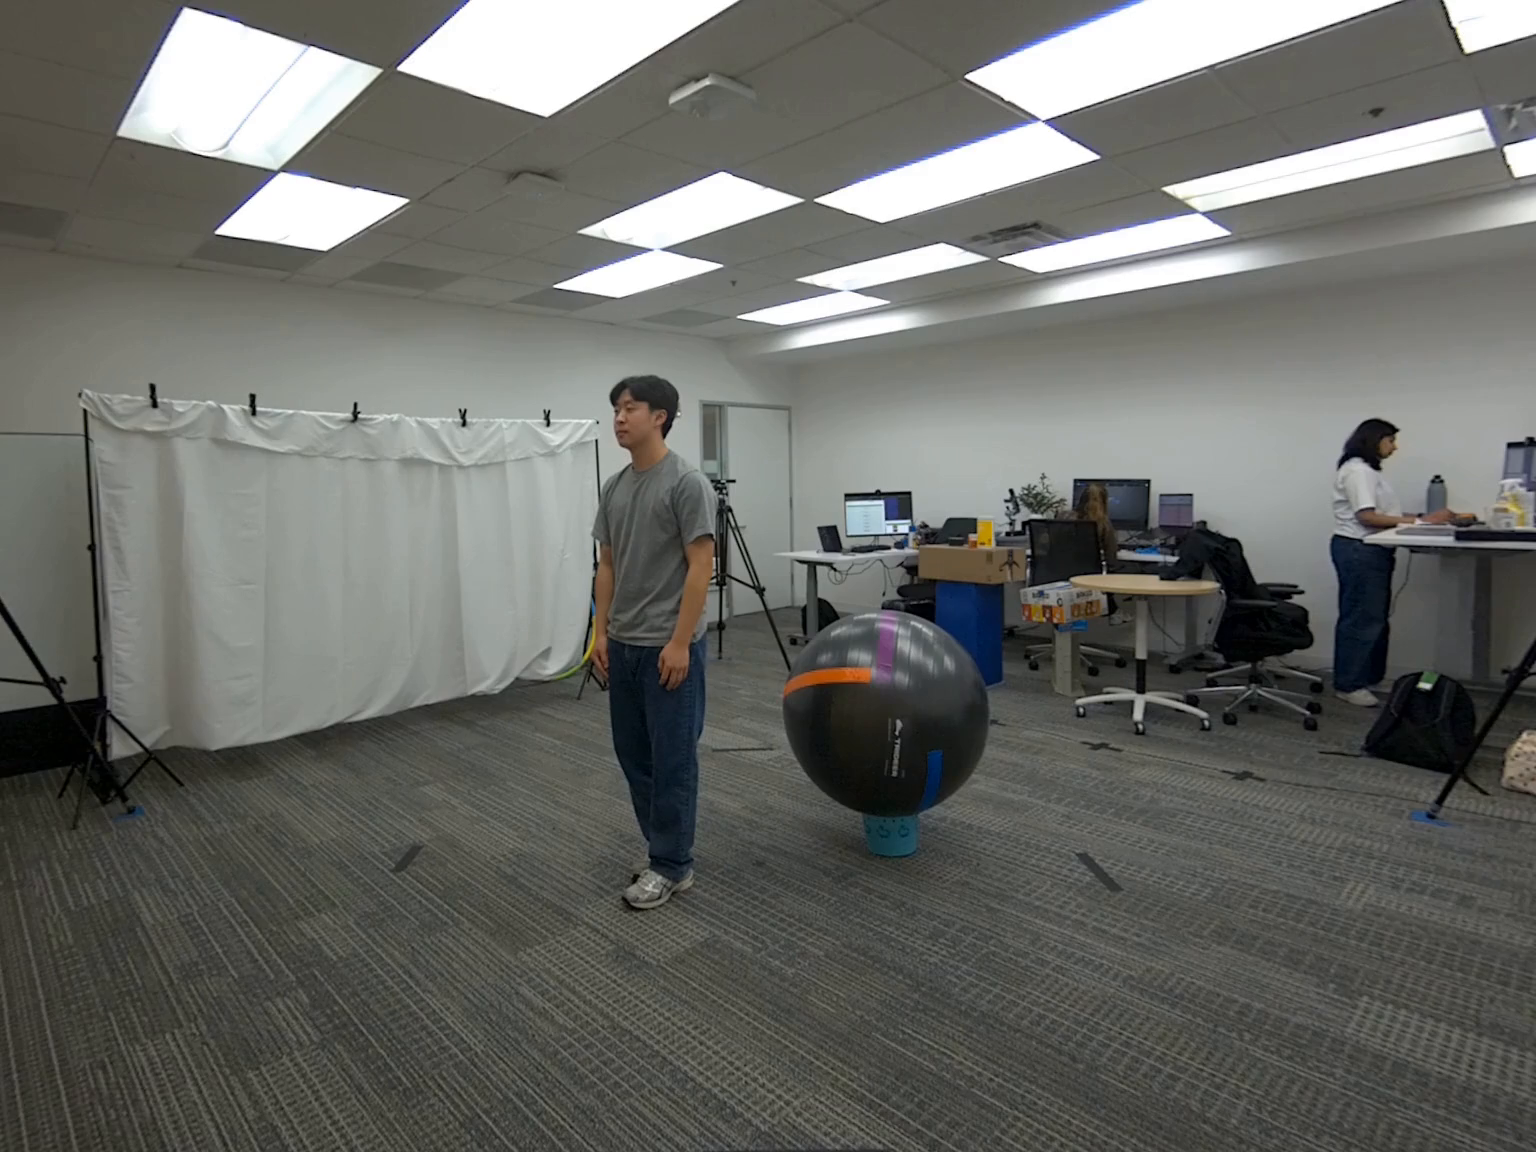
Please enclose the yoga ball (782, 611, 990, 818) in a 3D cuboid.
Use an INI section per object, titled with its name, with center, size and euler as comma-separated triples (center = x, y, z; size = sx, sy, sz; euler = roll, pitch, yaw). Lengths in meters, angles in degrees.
[yoga ball]
center = 0.456, 0.519, 3.220
size = 0.757, 0.755, 0.762
euler = -1, 5, -2
